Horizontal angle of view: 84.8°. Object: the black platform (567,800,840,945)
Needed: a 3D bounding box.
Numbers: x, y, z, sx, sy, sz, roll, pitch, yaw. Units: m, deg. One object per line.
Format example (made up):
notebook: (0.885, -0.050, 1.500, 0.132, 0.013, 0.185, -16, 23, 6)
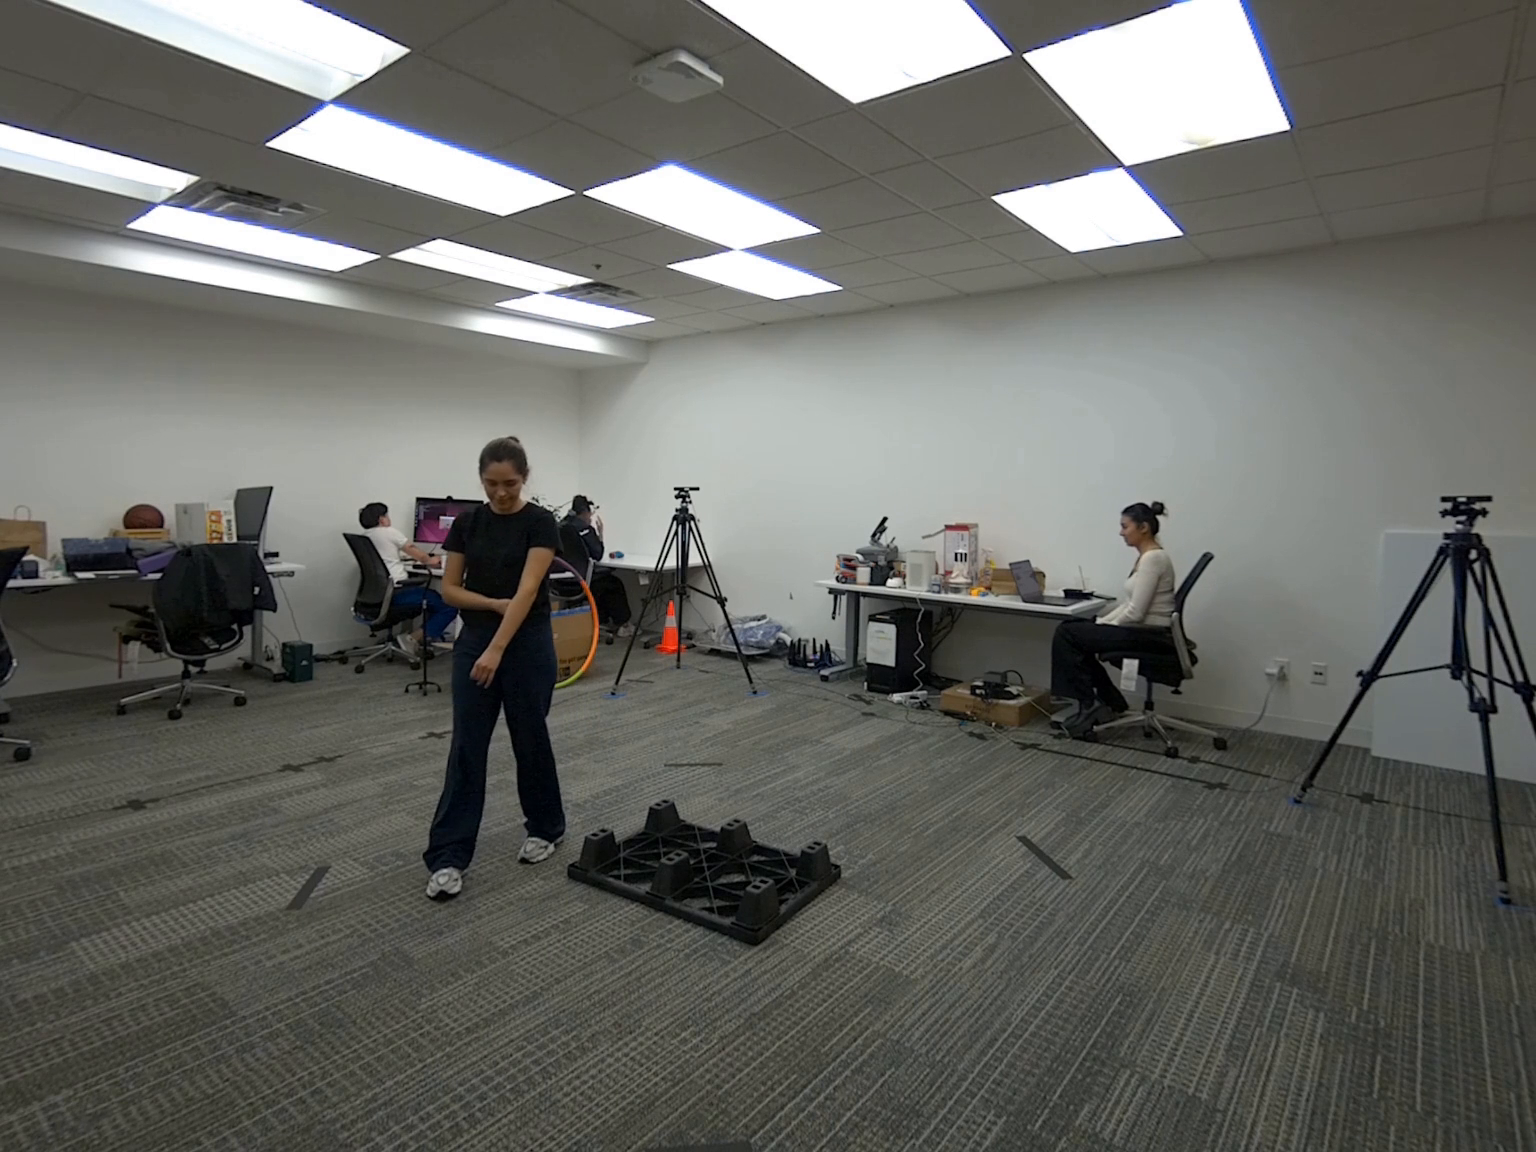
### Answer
black platform: (-0.219, 1.004, 3.052, 0.831, 0.143, 0.588, 4, 6, 33)
